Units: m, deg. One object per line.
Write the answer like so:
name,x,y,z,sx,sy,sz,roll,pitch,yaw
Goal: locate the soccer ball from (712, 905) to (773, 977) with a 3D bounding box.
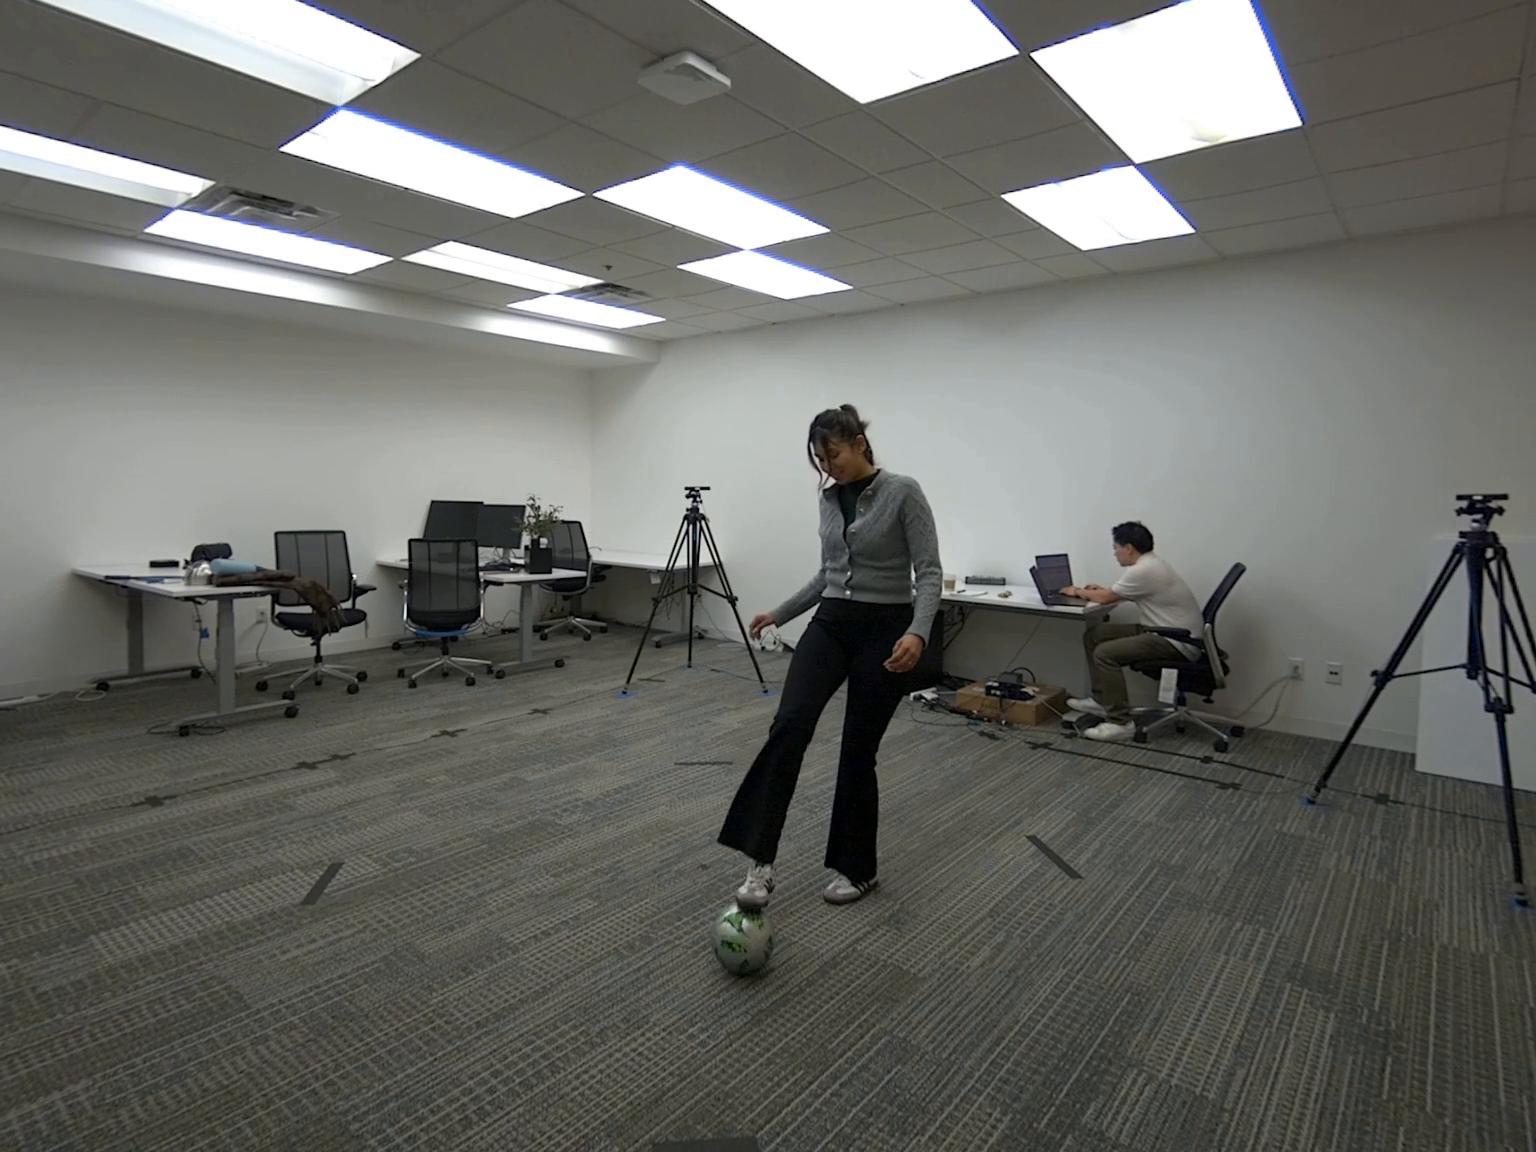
soccer ball,-0.082,1.039,2.470,0.187,0.187,0.188,1,4,-2
